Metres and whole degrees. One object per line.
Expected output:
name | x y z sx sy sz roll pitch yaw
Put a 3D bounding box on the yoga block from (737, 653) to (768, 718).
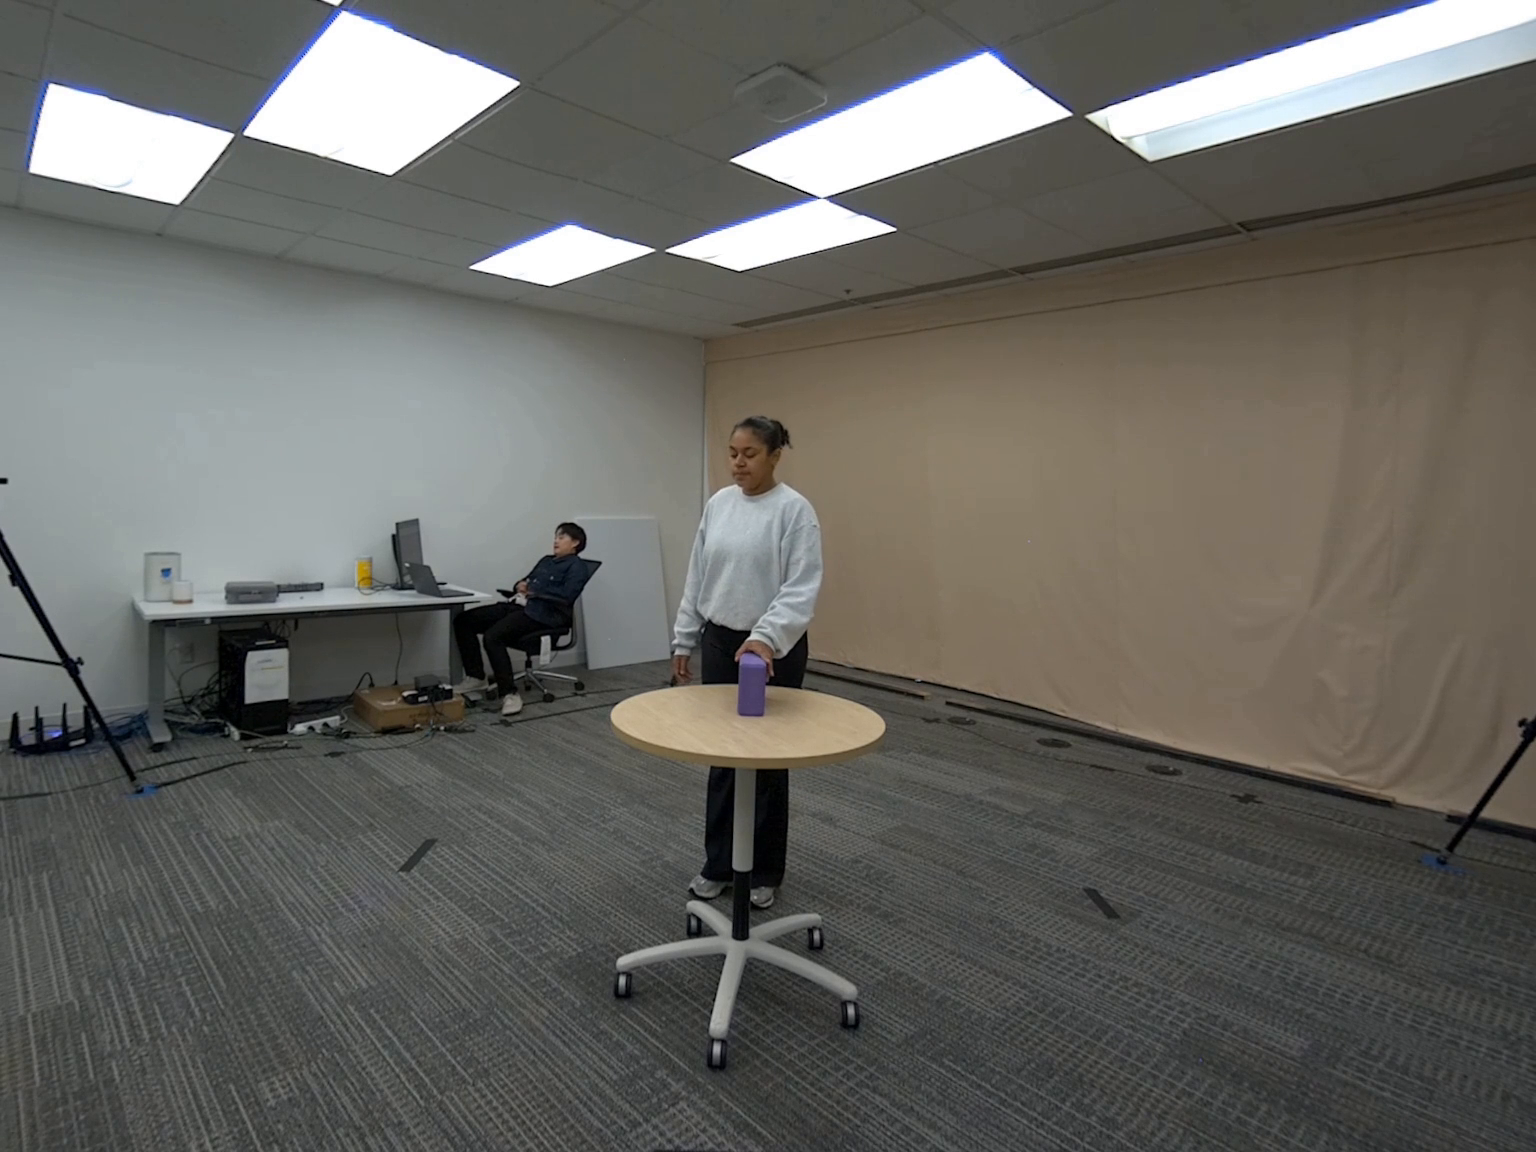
yoga block | -0.065 0.313 2.465 0.076 0.149 0.229 2 3 0
